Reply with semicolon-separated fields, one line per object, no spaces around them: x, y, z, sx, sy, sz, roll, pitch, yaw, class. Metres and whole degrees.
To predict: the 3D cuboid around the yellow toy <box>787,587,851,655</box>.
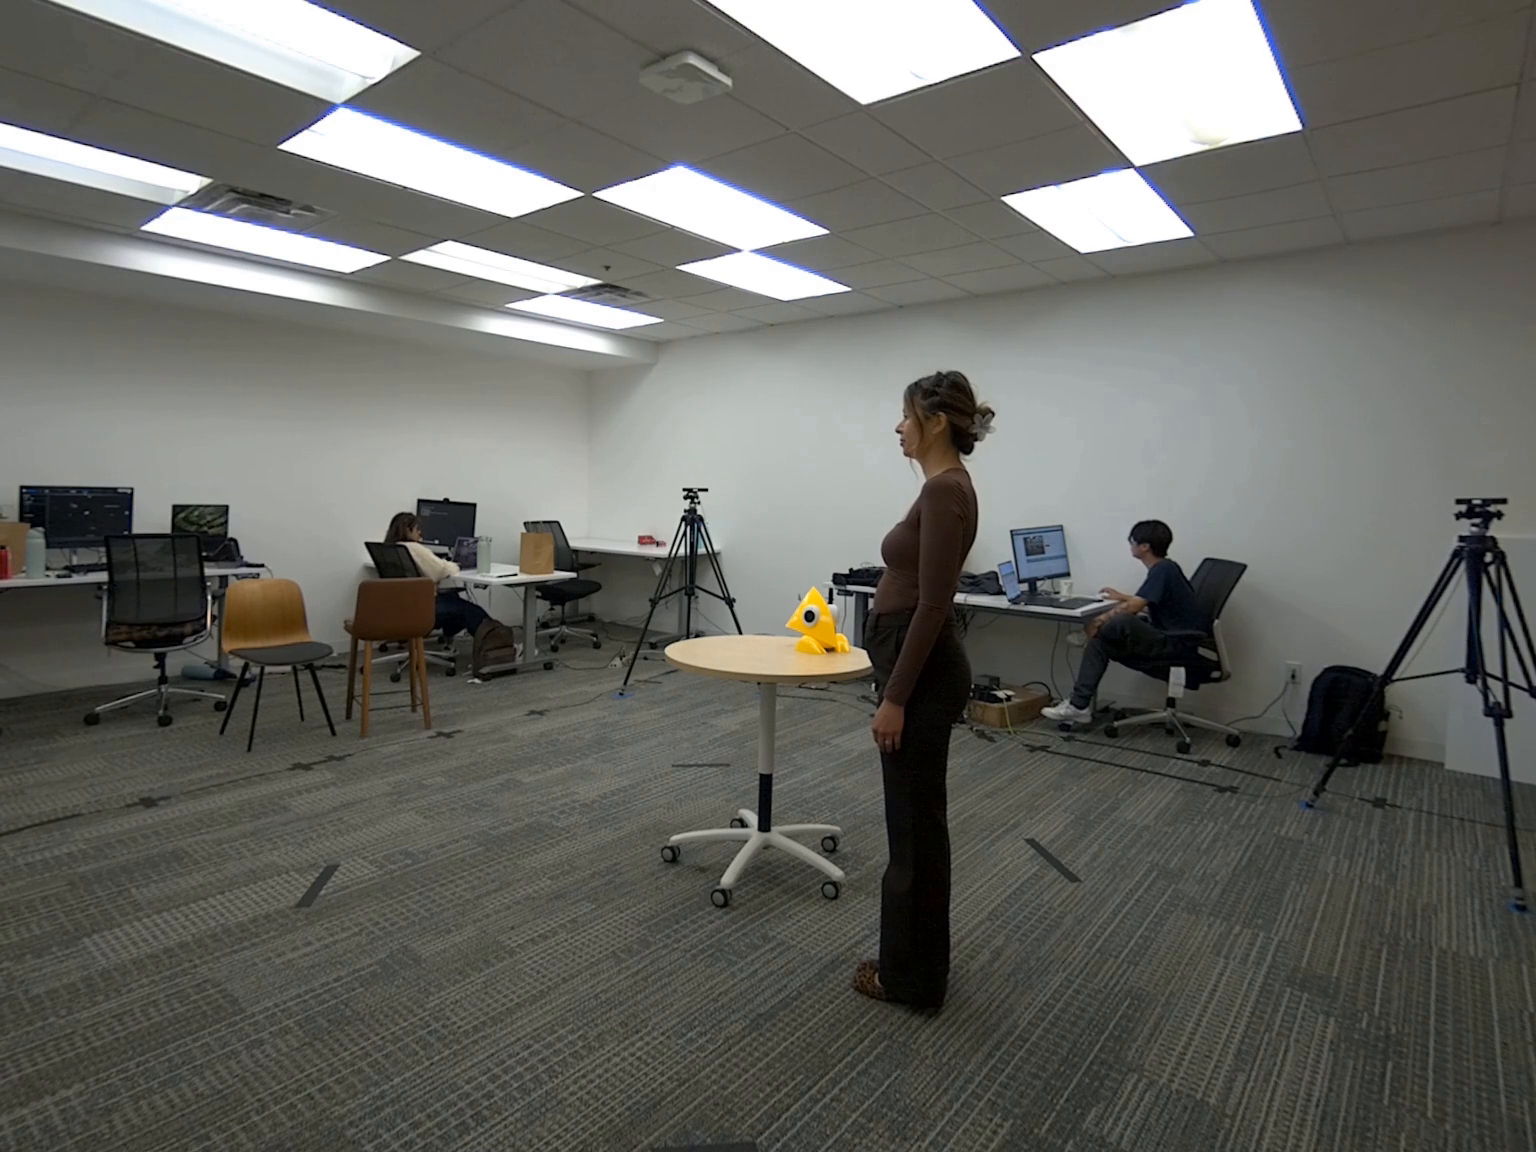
0.195;0.162;3.202;0.199;0.230;0.199;0;4;-30;yellow toy
